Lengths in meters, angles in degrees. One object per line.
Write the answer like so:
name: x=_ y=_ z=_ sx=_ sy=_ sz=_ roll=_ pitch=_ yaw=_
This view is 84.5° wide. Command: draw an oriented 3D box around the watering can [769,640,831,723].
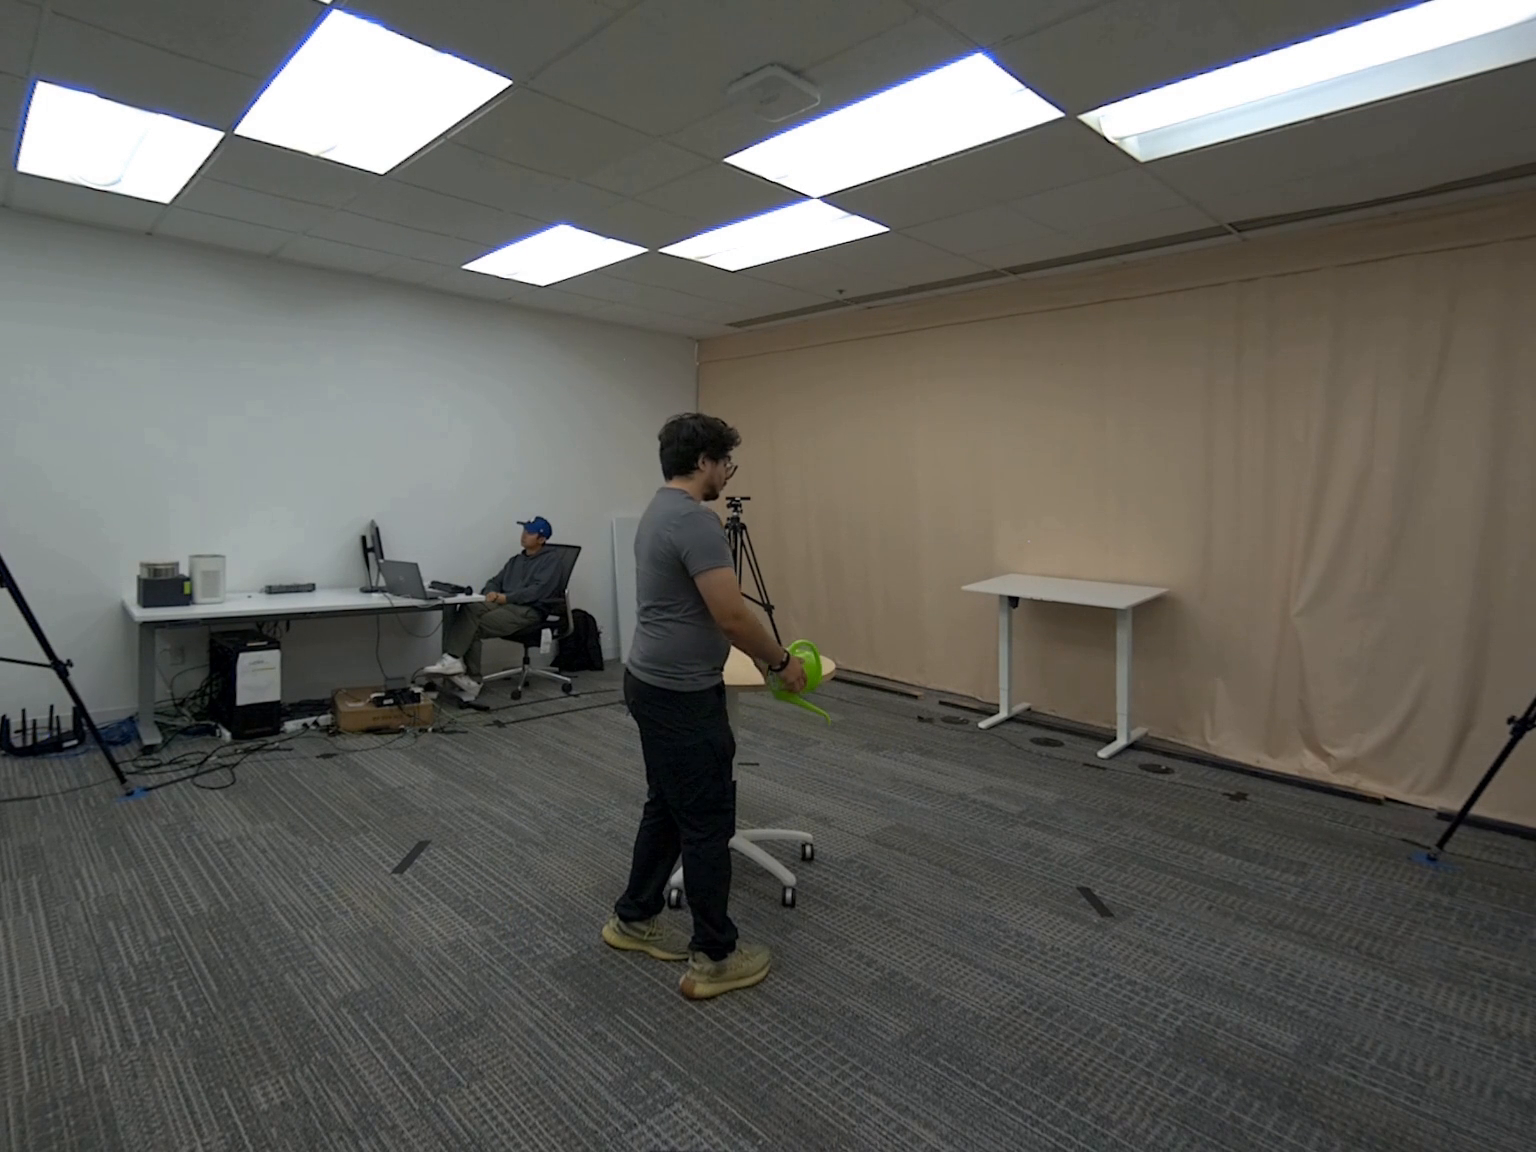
watering can: x=0.094 y=0.340 z=2.598 sx=0.174 sy=0.281 sz=0.098 roll=-13 pitch=-11 yaw=-23
